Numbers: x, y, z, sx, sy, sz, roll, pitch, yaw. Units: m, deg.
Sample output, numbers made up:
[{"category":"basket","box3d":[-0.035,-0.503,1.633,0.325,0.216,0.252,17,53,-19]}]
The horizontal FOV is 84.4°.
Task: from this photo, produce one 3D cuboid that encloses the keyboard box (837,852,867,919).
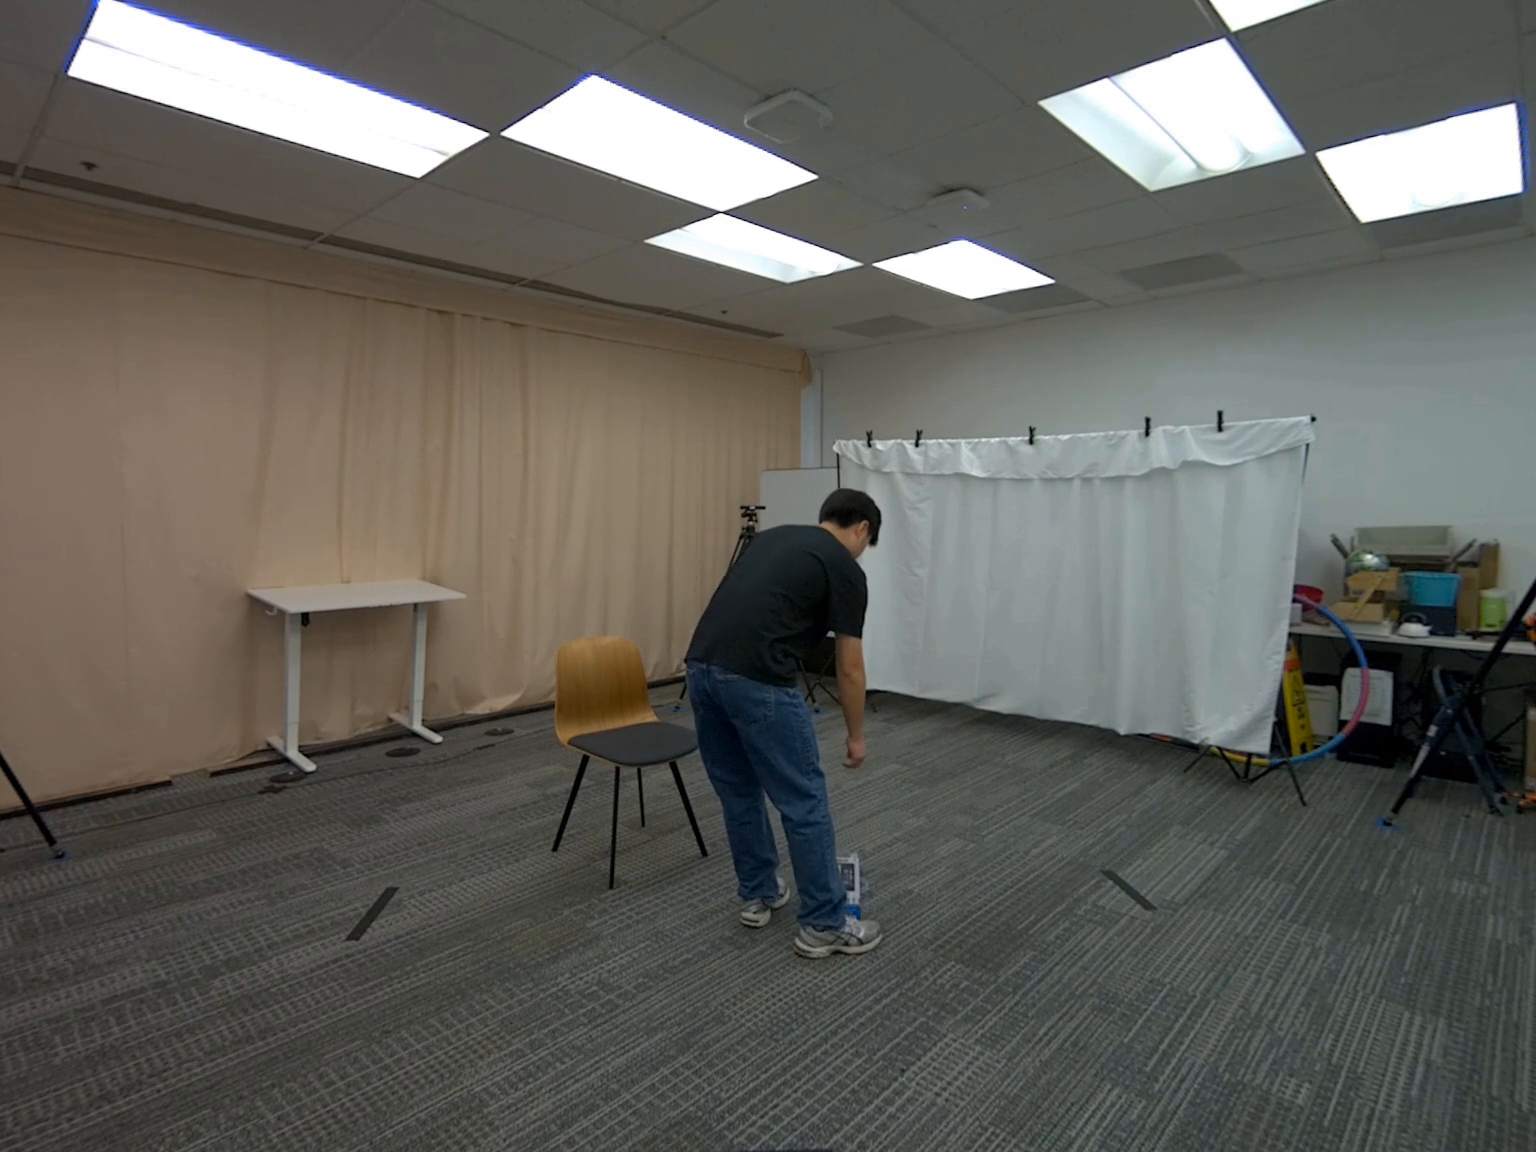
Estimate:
[{"category":"keyboard box","box3d":[0.253,1.114,3.033,0.177,0.059,0.434,0,5,6]}]
